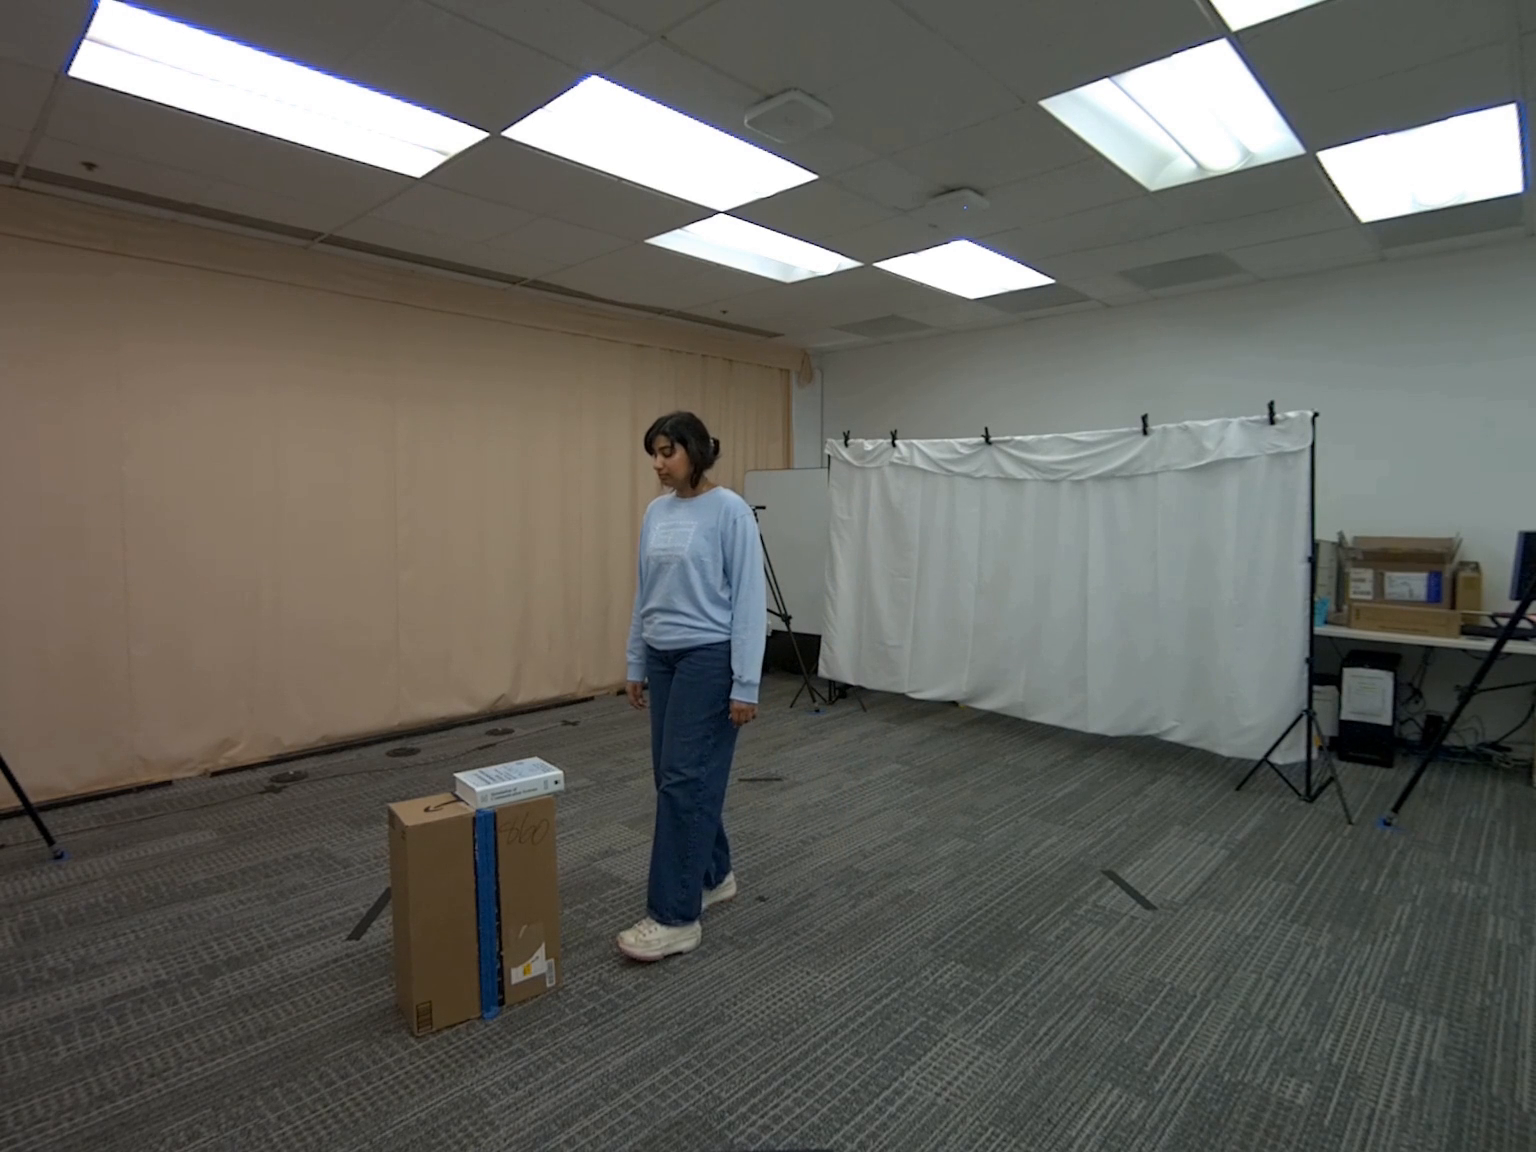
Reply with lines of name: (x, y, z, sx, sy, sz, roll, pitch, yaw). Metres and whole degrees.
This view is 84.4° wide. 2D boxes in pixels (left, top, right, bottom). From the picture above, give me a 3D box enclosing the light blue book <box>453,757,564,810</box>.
light blue book: (-0.754, 0.601, 2.444, 0.253, 0.059, 0.197, -4, 5, -38)
